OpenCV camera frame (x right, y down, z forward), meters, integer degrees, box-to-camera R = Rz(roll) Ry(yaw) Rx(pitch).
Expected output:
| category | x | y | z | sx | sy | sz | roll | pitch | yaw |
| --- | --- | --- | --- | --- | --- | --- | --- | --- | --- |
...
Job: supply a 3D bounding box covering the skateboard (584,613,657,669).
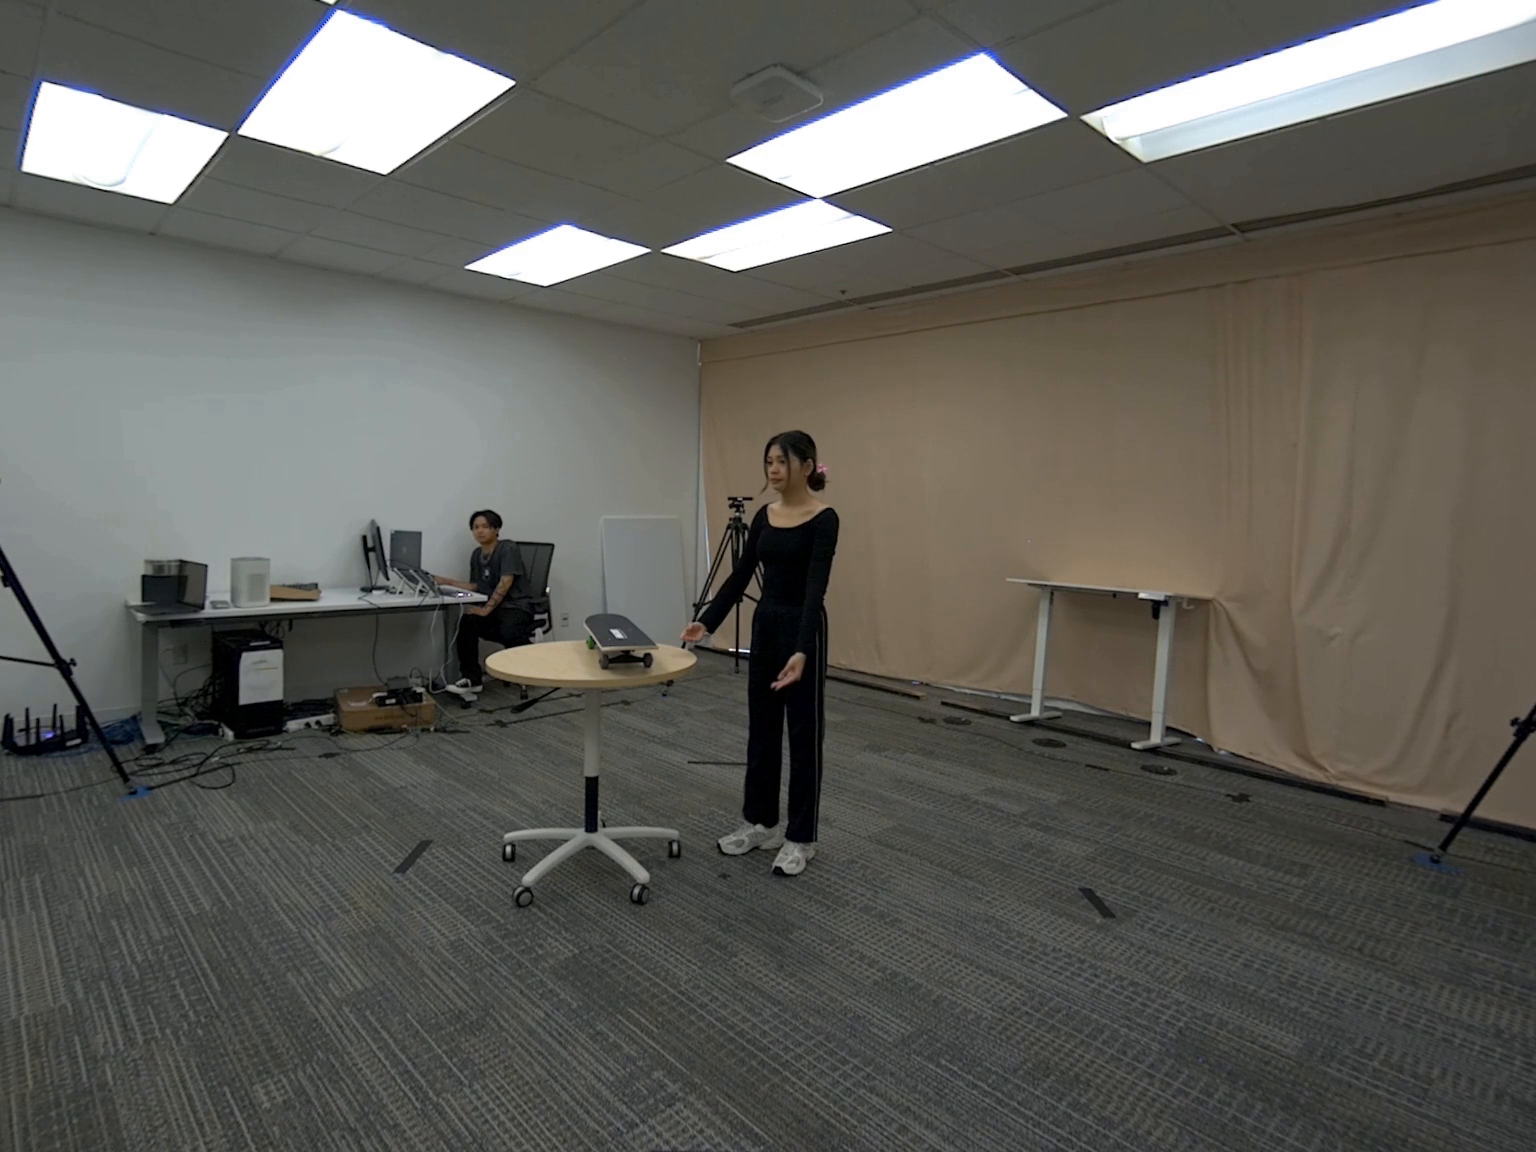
| category | x | y | z | sx | sy | sz | roll | pitch | yaw |
| --- | --- | --- | --- | --- | --- | --- | --- | --- | --- |
| skateboard | -0.564 | 0.252 | 3.124 | 0.191 | 0.110 | 0.798 | -1 | 5 | -18 |
